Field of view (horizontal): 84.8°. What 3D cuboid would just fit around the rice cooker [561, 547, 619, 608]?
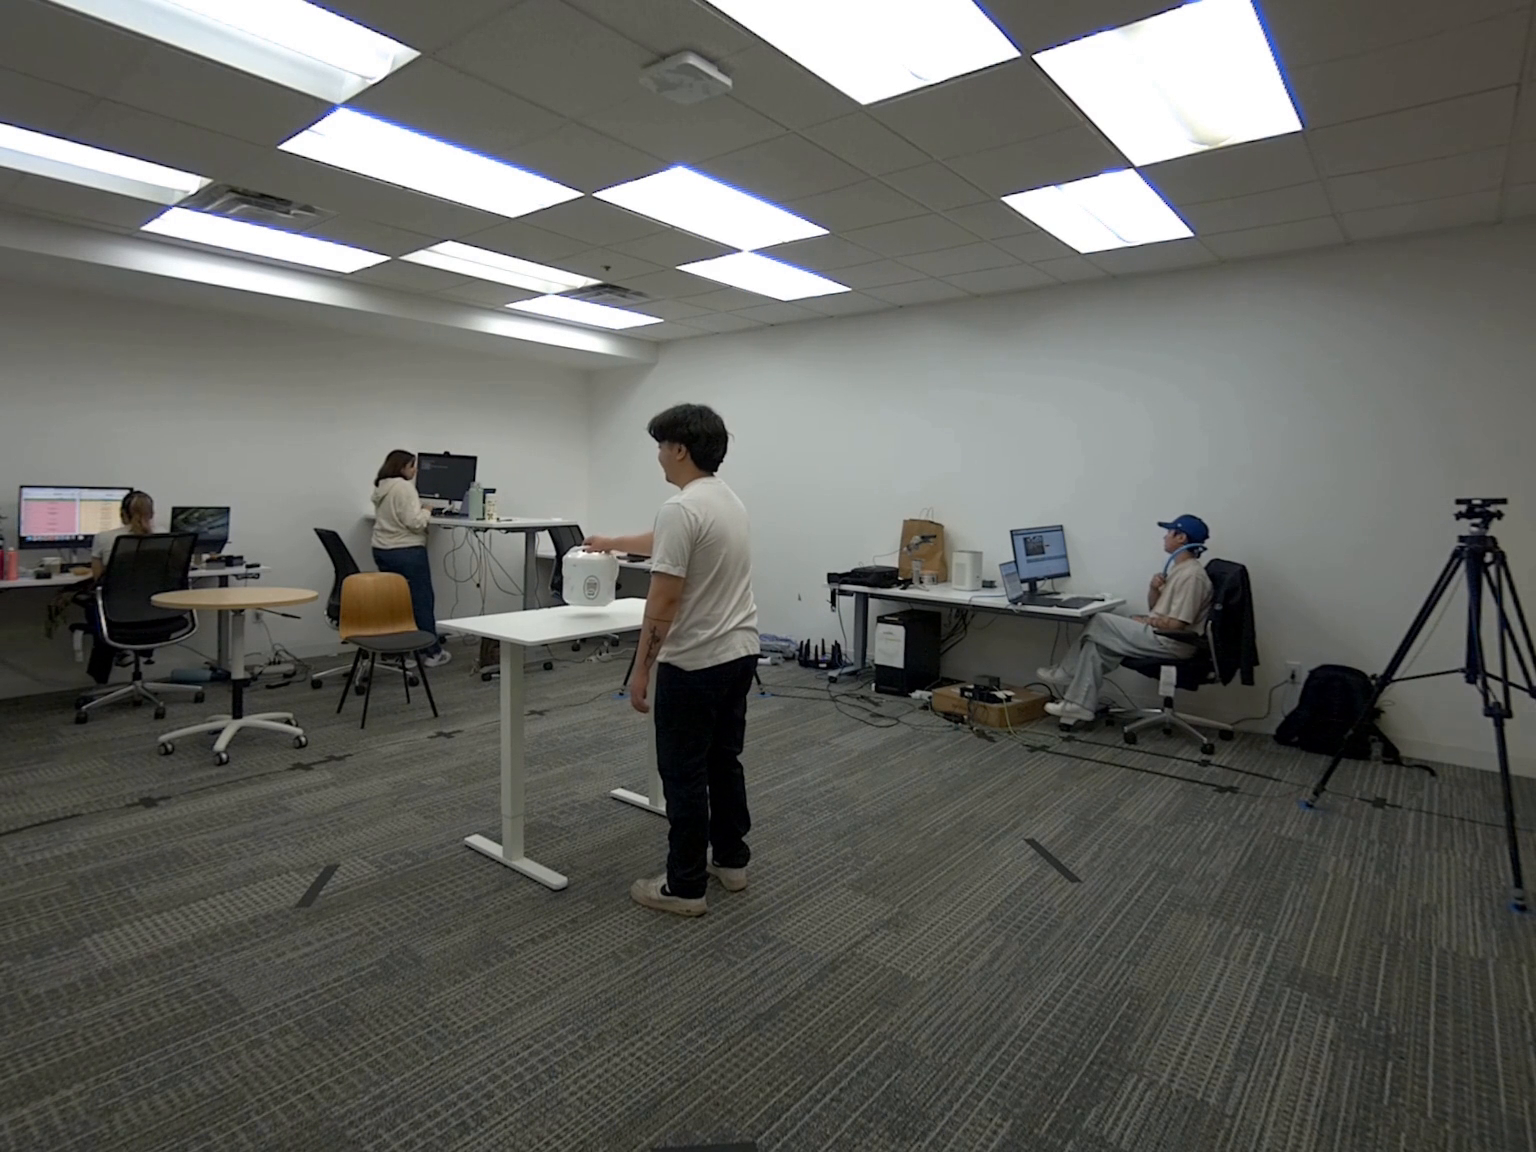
[{"bbox_3d":[-0.712,-0.008,3.353,0.217,0.232,0.221,1,4,-14],"label":"rice cooker"}]
